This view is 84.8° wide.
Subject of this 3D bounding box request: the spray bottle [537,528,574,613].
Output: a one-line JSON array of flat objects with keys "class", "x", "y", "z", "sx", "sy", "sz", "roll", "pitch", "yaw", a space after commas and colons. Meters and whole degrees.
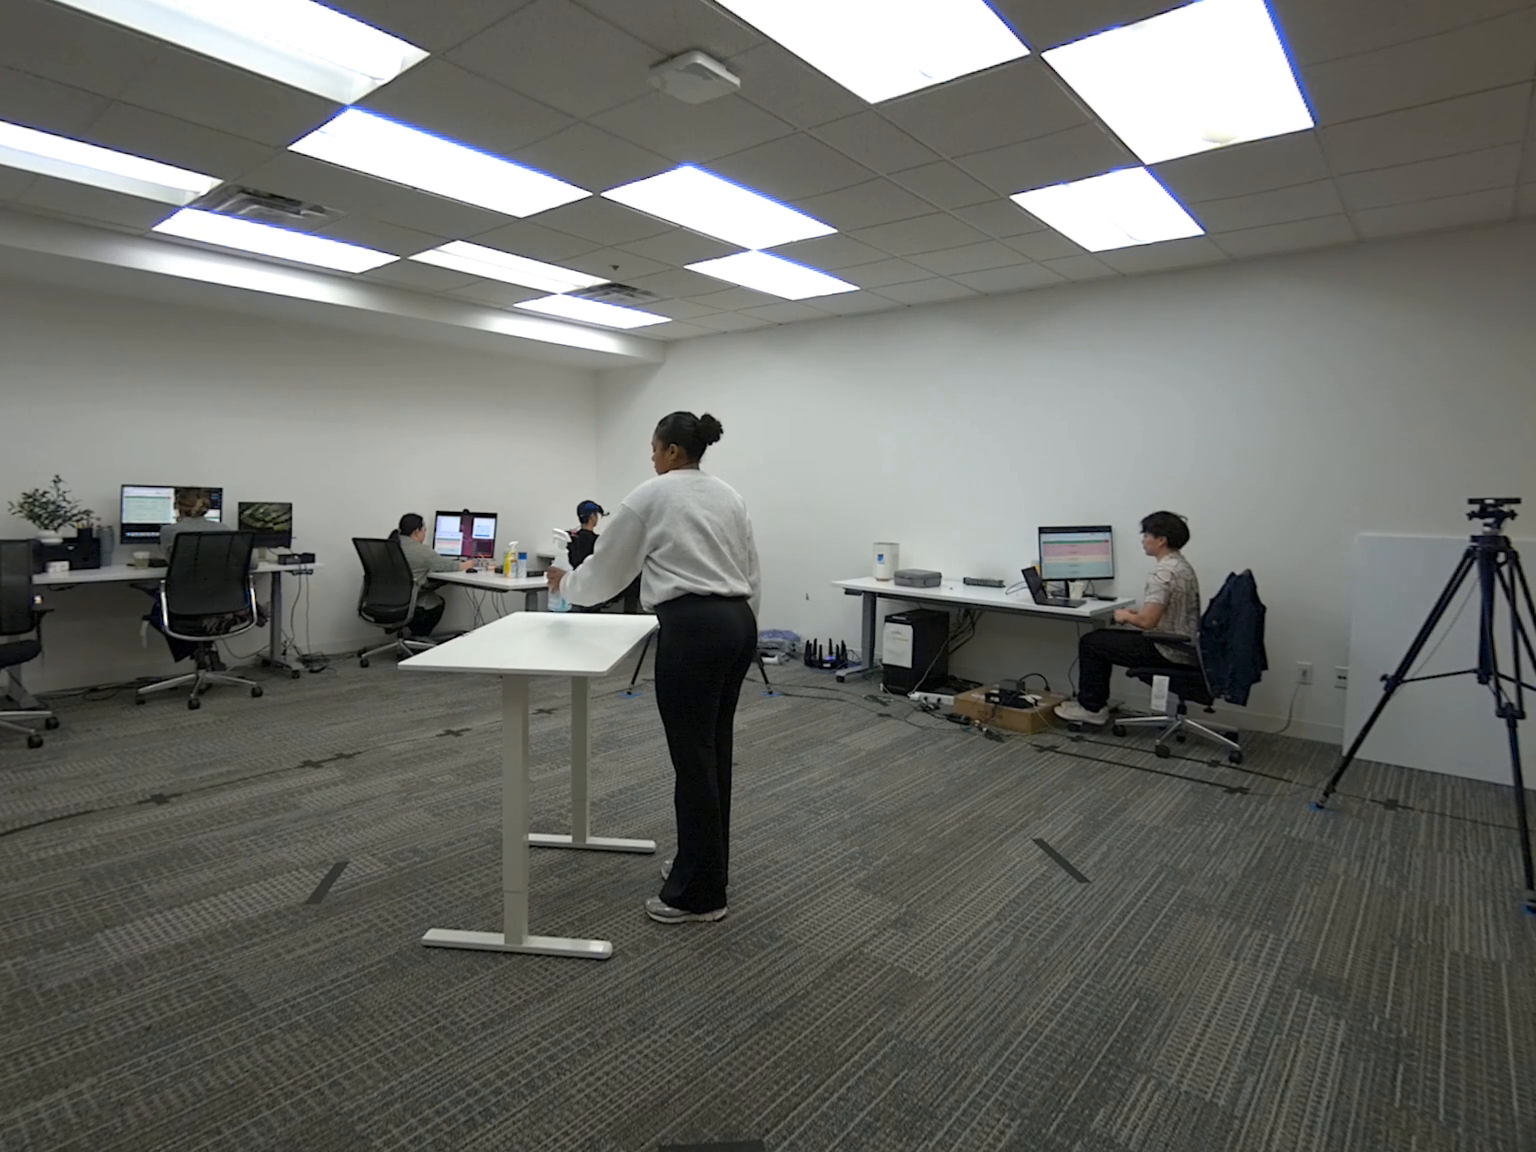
[{"class": "spray bottle", "x": -0.776, "y": -0.015, "z": 3.135, "sx": 0.085, "sy": 0.294, "sz": 0.093, "roll": -4, "pitch": 13, "yaw": -30}]
